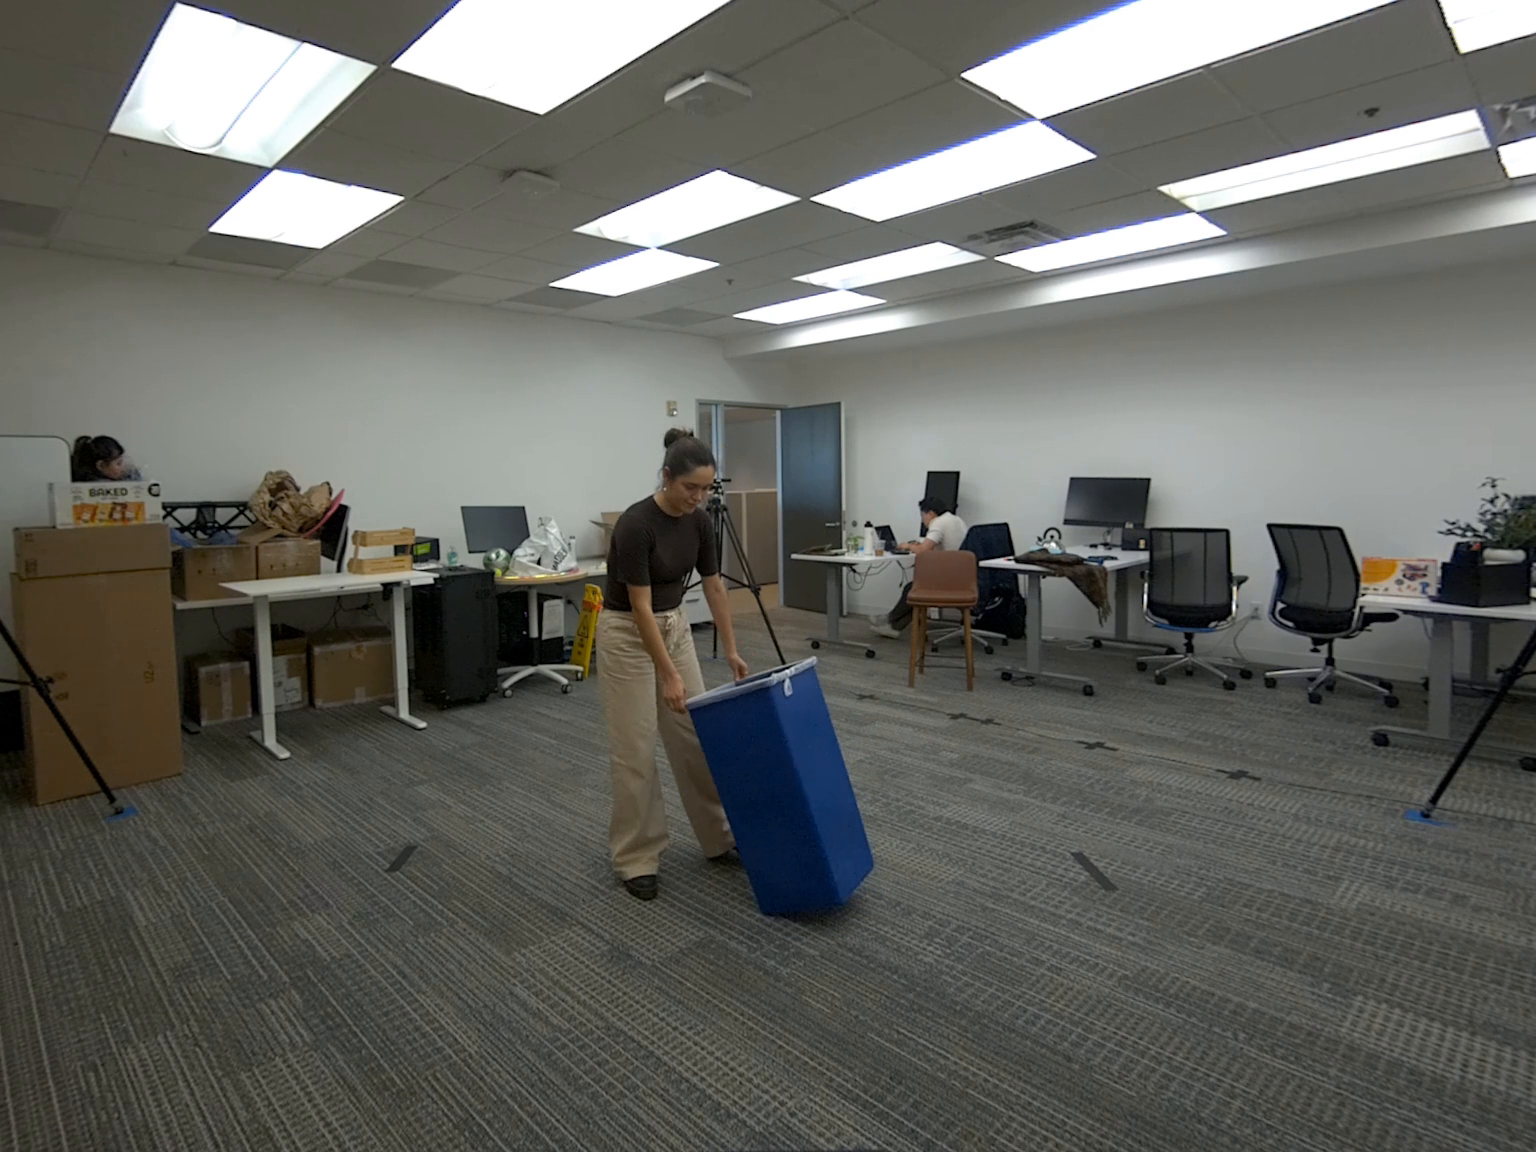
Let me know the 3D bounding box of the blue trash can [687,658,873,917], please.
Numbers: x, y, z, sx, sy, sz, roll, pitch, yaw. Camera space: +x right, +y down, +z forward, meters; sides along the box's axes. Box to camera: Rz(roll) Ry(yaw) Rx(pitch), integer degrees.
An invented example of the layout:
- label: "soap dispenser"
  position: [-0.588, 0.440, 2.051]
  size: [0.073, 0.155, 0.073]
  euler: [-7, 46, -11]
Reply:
- label: "blue trash can"
  position: [0.042, 0.687, 2.831]
  size: [0.379, 0.719, 0.370]
  euler: [-21, -7, 30]
